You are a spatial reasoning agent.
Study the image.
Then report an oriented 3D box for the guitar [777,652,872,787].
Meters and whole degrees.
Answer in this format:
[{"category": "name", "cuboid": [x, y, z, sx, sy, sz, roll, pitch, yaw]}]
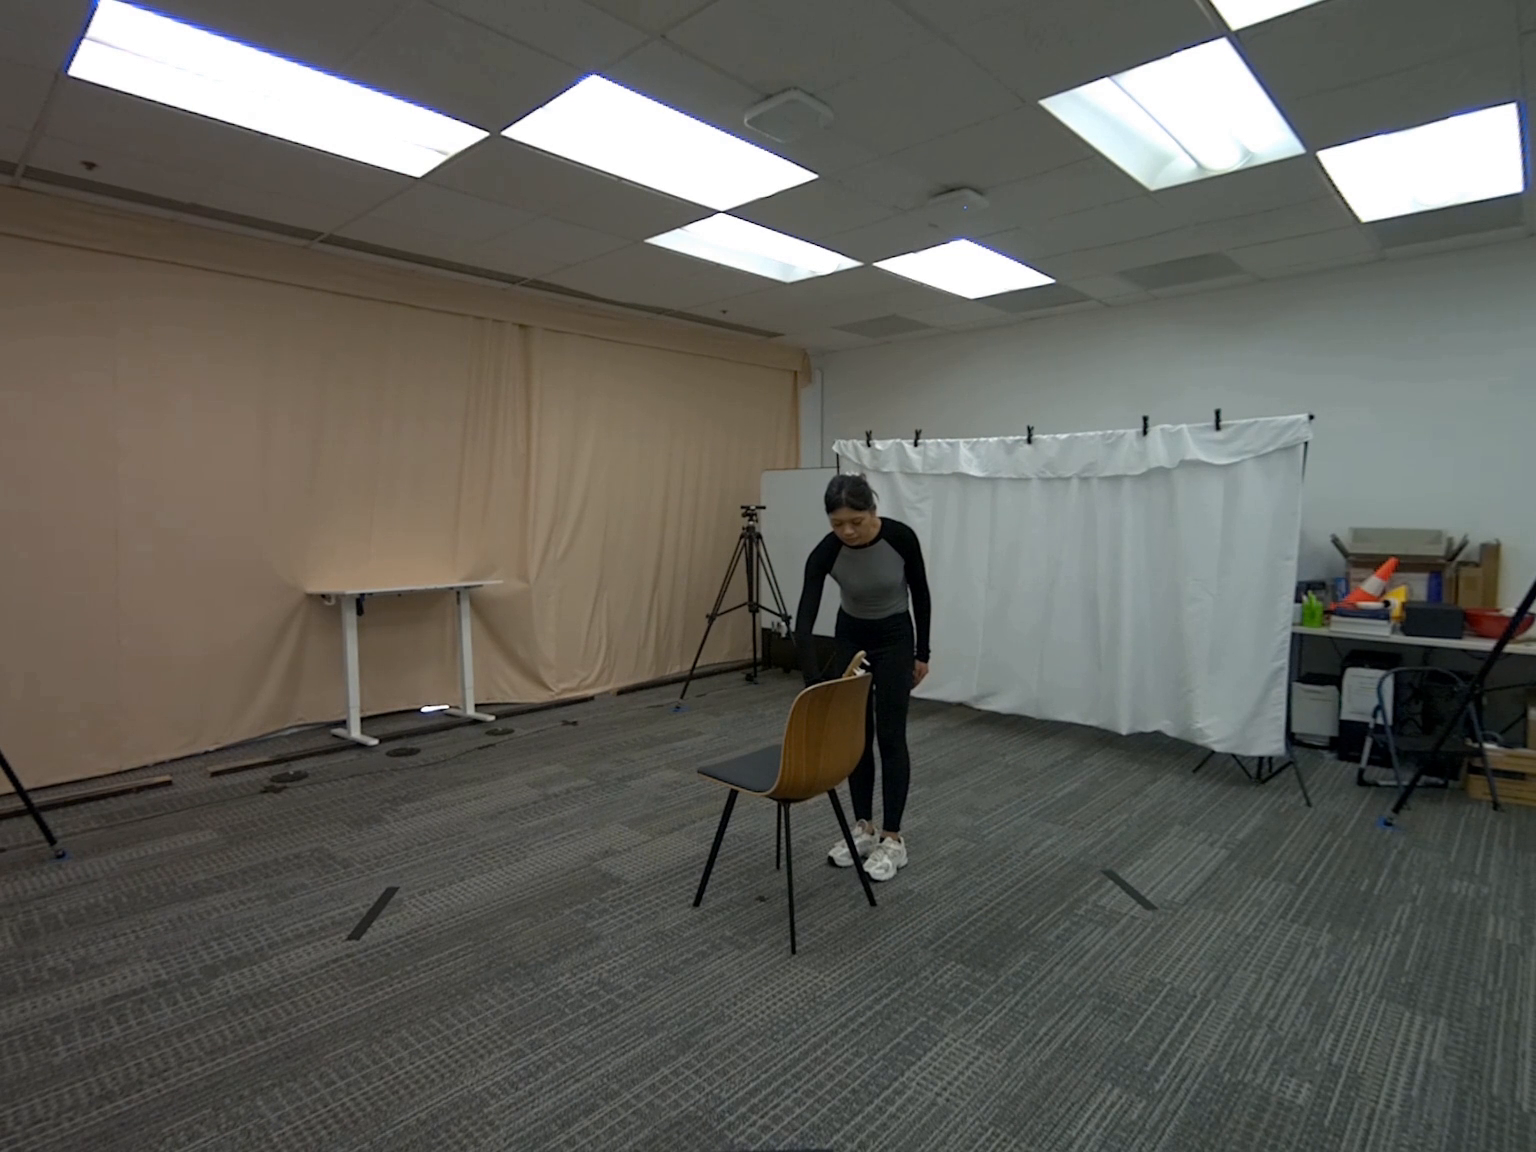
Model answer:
[{"category": "guitar", "cuboid": [0.197, 0.468, 2.787, 0.188, 0.495, 0.073, -17, 48, -45]}]
